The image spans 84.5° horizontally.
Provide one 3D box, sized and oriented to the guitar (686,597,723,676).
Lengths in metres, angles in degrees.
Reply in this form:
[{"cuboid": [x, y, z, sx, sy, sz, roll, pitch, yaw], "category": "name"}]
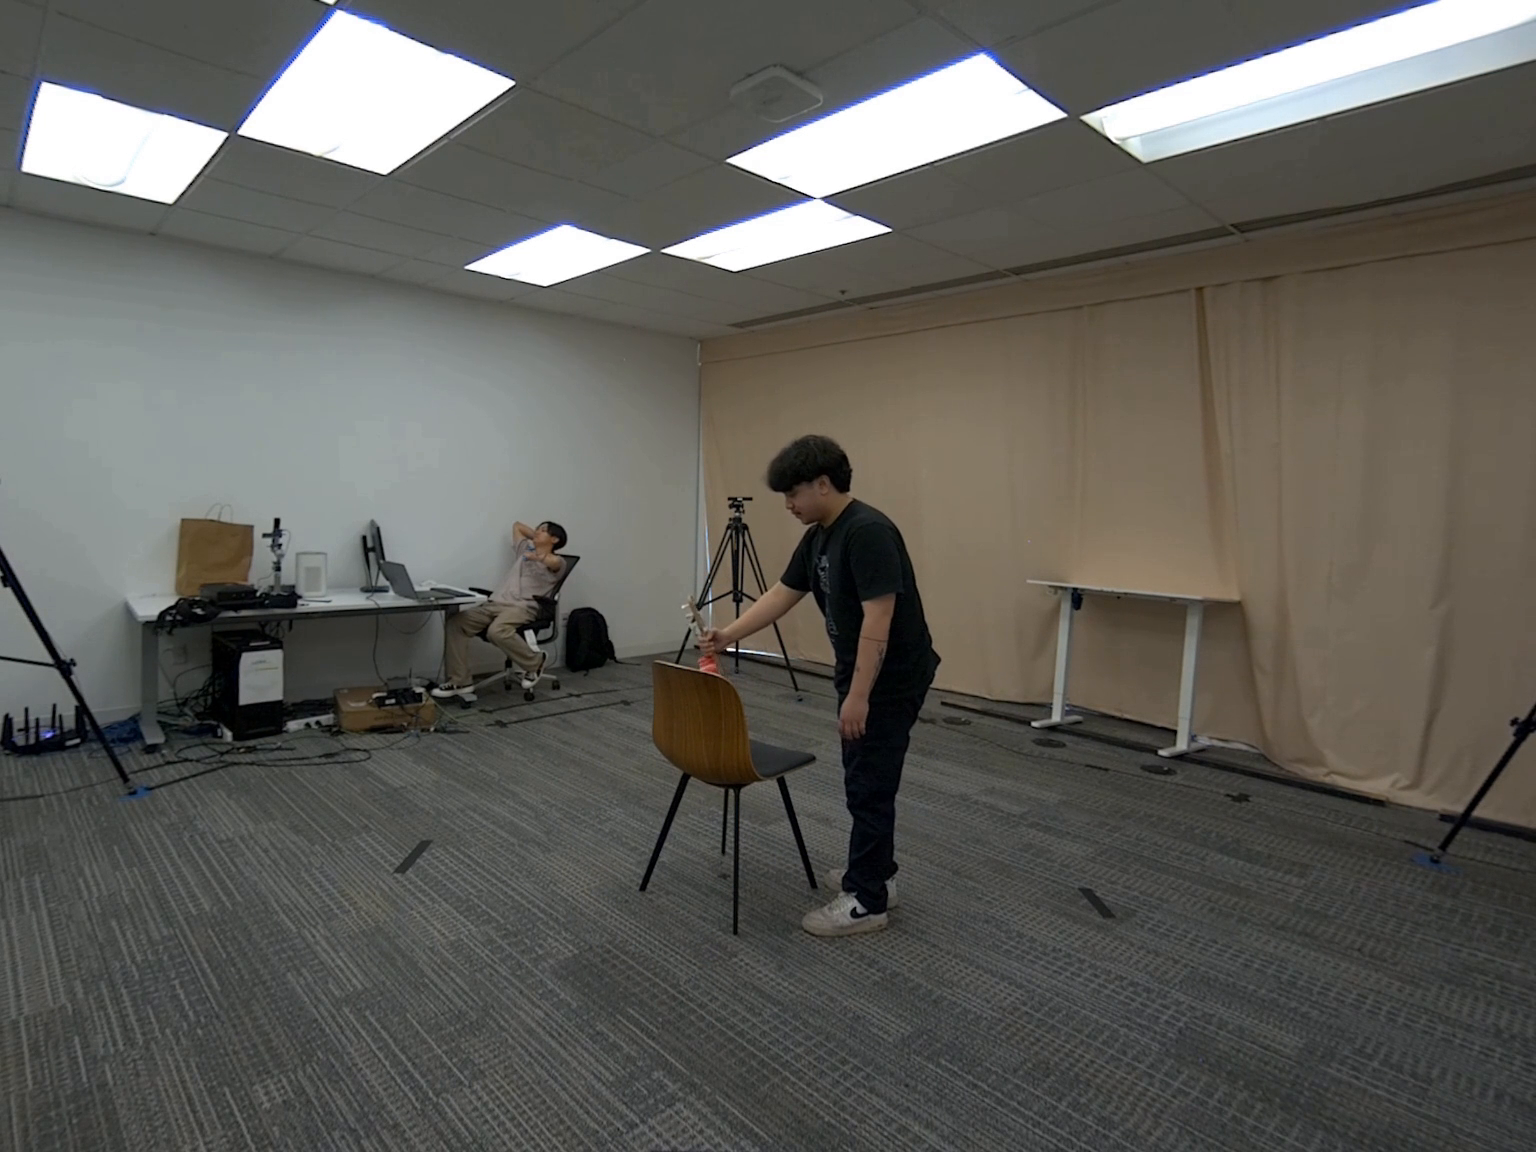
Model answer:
[{"cuboid": [-0.202, 0.306, 2.970, 0.071, 0.498, 0.192, -21, -1, 6], "category": "guitar"}]
